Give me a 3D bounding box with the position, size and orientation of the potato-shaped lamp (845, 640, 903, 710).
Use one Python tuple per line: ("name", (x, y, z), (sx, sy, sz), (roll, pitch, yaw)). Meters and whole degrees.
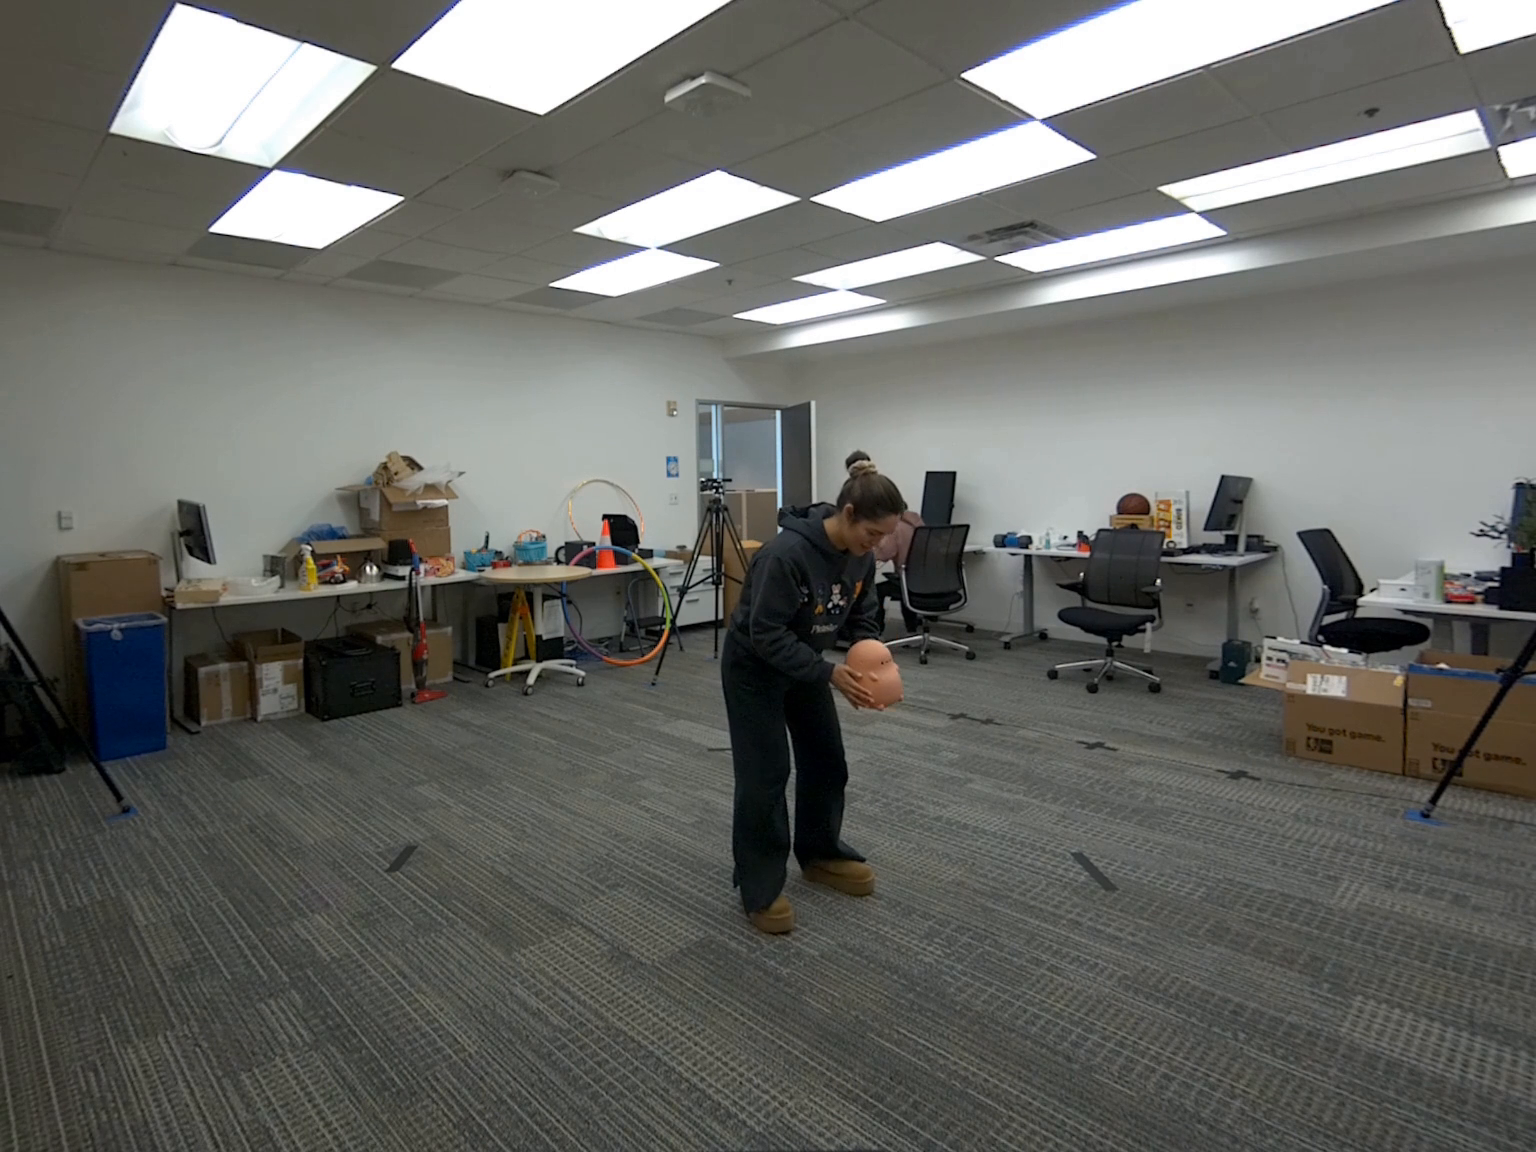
("potato-shaped lamp", (0.313, 0.295, 2.577), (0.161, 0.196, 0.177), (-12, 12, -43))
